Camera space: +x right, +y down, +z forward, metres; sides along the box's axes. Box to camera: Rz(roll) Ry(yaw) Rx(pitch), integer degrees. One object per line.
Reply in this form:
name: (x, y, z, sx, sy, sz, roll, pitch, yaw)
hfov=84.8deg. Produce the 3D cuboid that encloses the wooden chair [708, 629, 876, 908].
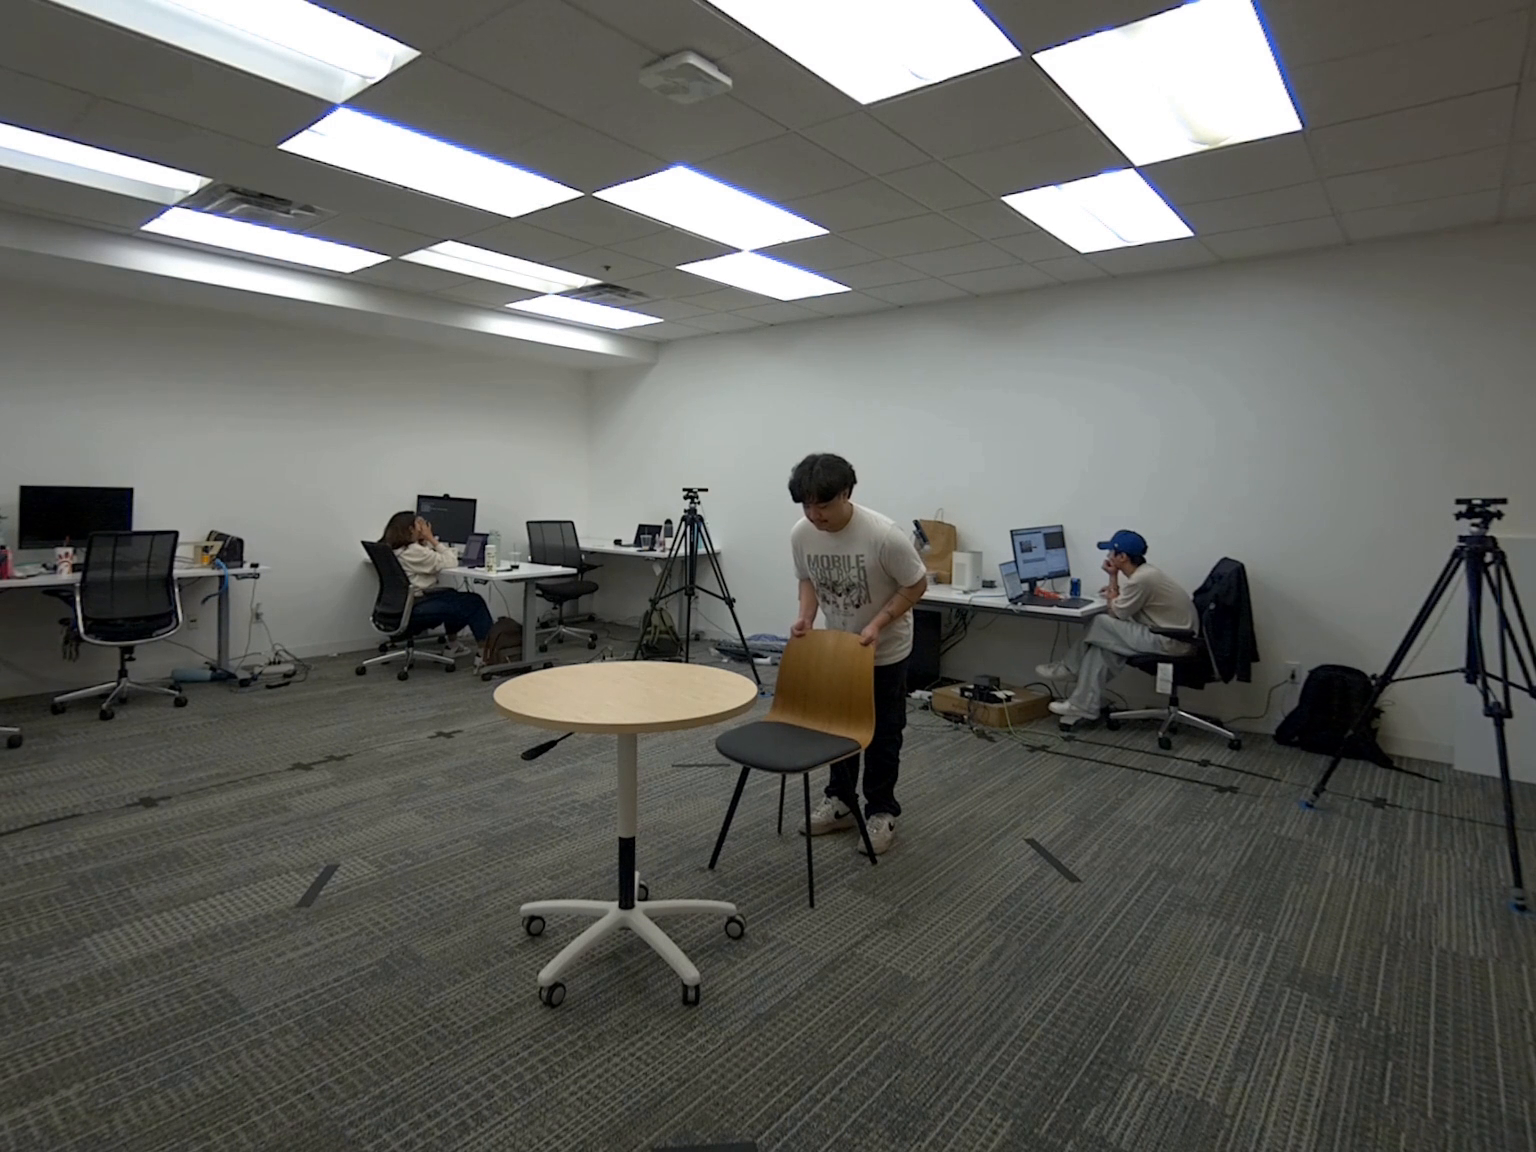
wooden chair: (0.090, 0.647, 3.114, 0.494, 0.877, 0.506, 4, 0, 37)
